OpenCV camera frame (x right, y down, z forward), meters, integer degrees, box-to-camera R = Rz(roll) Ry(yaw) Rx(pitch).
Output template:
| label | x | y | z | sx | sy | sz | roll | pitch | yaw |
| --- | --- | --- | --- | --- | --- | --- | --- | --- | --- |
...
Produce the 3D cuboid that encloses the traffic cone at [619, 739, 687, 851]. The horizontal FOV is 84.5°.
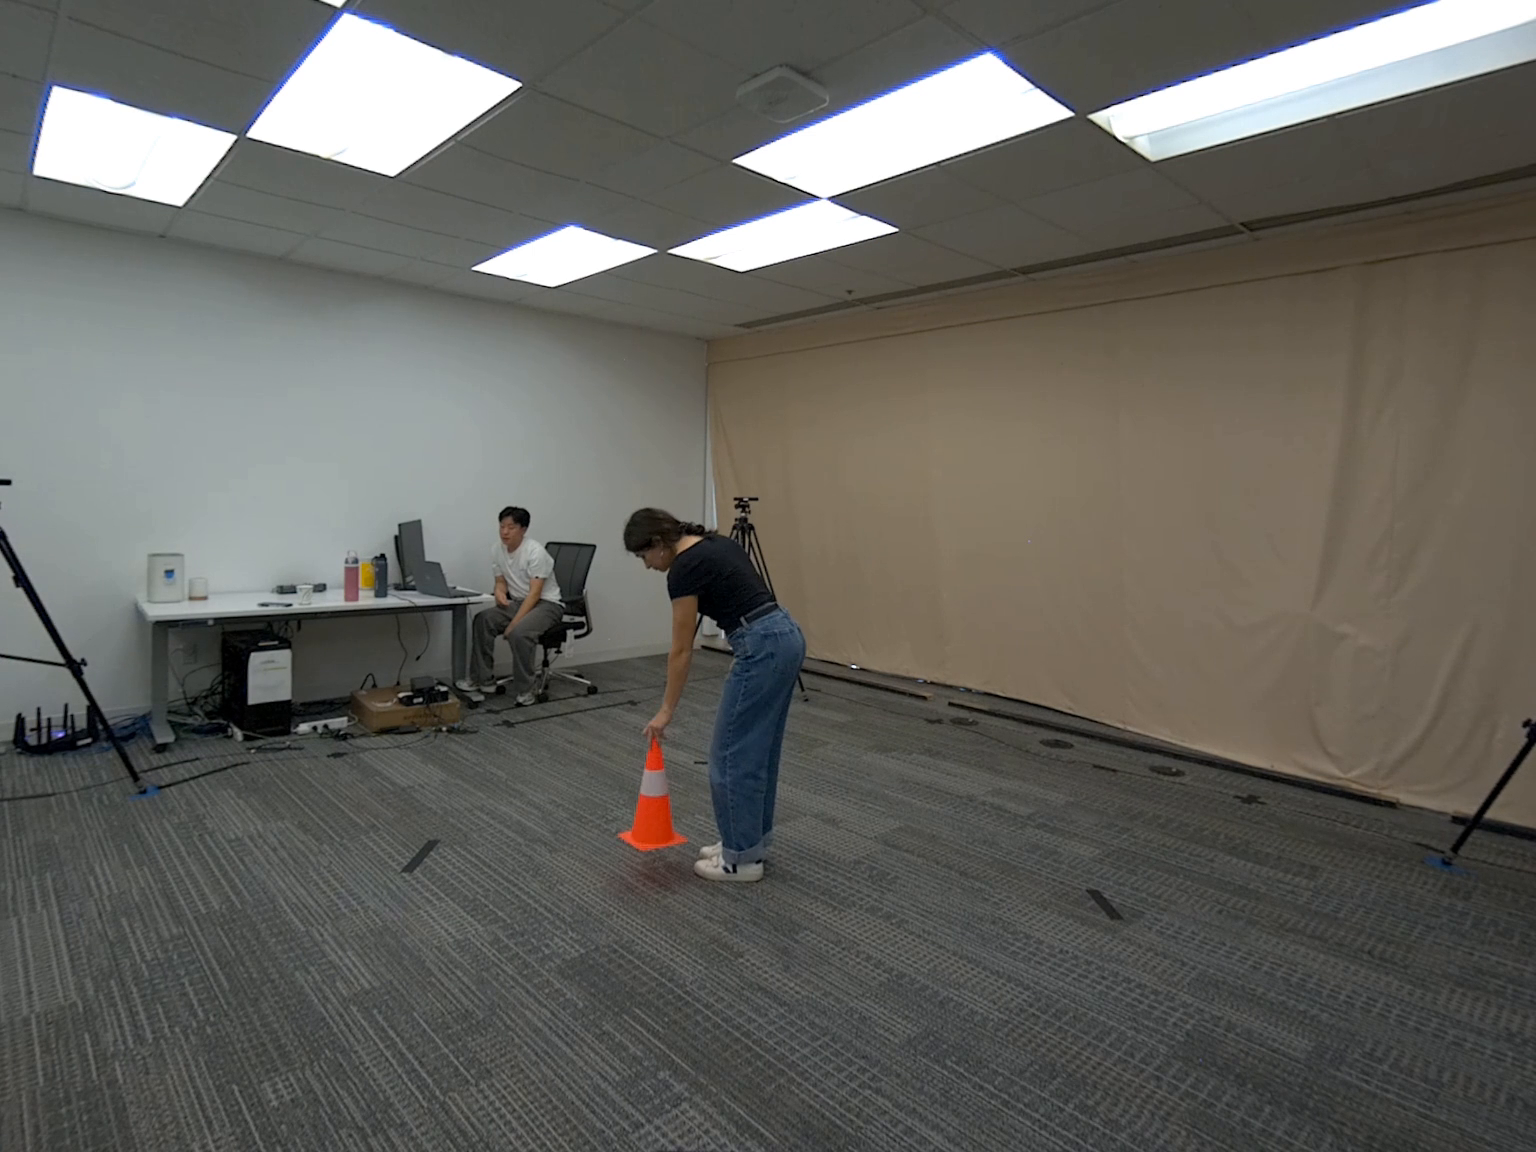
| label | x | y | z | sx | sy | sz | roll | pitch | yaw |
| --- | --- | --- | --- | --- | --- | --- | --- | --- | --- |
| traffic cone | -0.422 | 0.776 | 3.088 | 0.198 | 0.383 | 0.210 | 0 | 3 | -43 |
